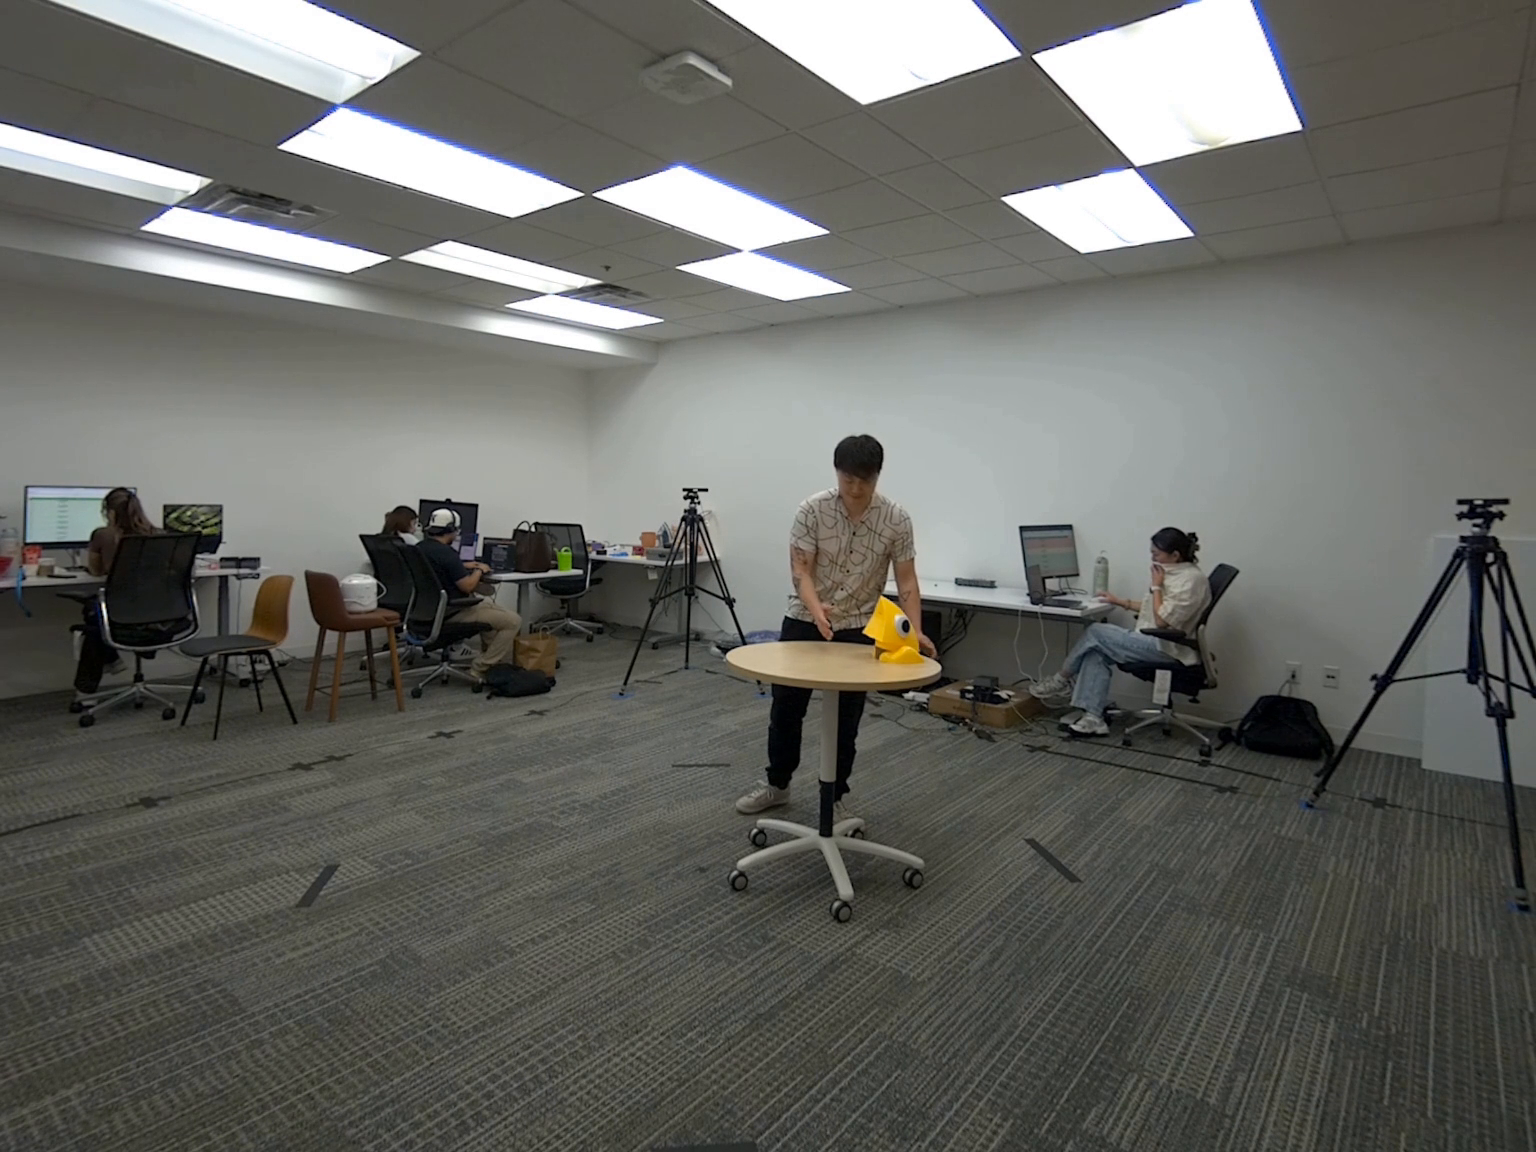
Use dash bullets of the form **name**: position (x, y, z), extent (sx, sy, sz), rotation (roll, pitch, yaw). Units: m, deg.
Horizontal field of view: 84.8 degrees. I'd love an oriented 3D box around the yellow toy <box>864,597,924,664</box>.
- **yellow toy**: position (0.457, 0.180, 3.128), extent (0.191, 0.230, 0.208), rotation (-3, 4, -13)
